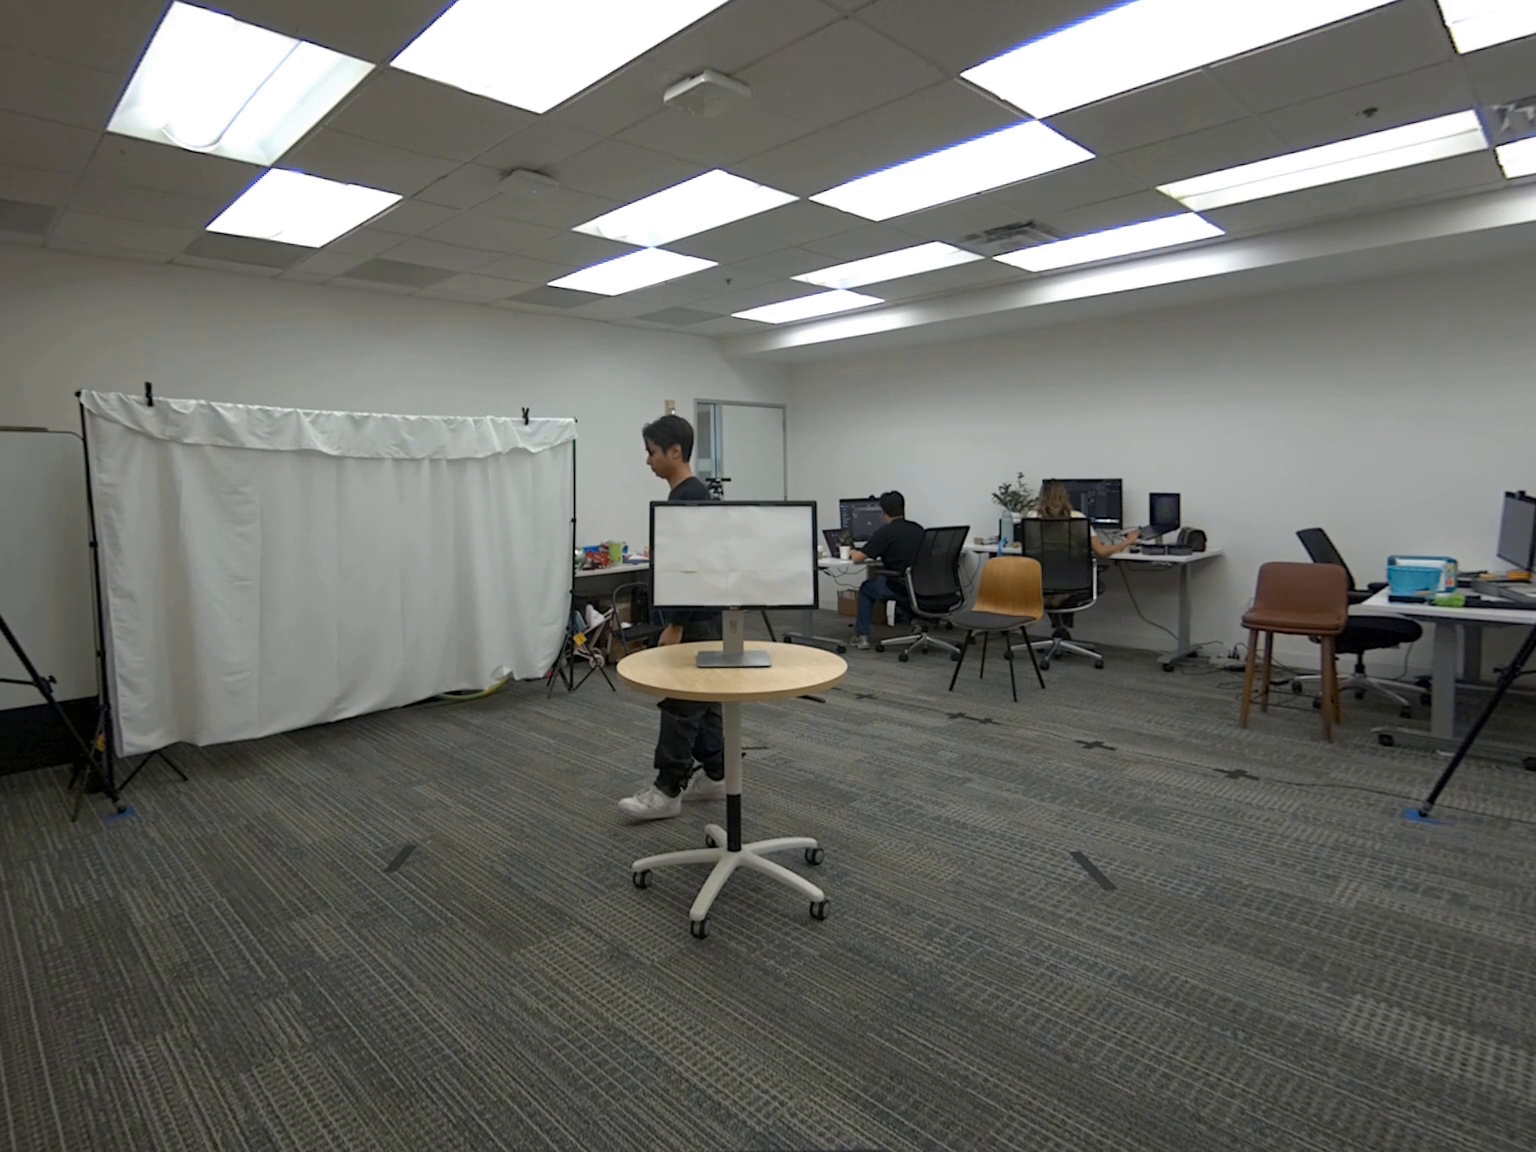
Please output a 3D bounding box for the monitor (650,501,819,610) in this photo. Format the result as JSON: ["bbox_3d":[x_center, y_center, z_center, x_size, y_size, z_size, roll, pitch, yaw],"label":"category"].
[{"bbox_3d":[-0.120,0.030,2.877,0.538,0.520,0.188,-2,4,-2],"label":"monitor"}]
